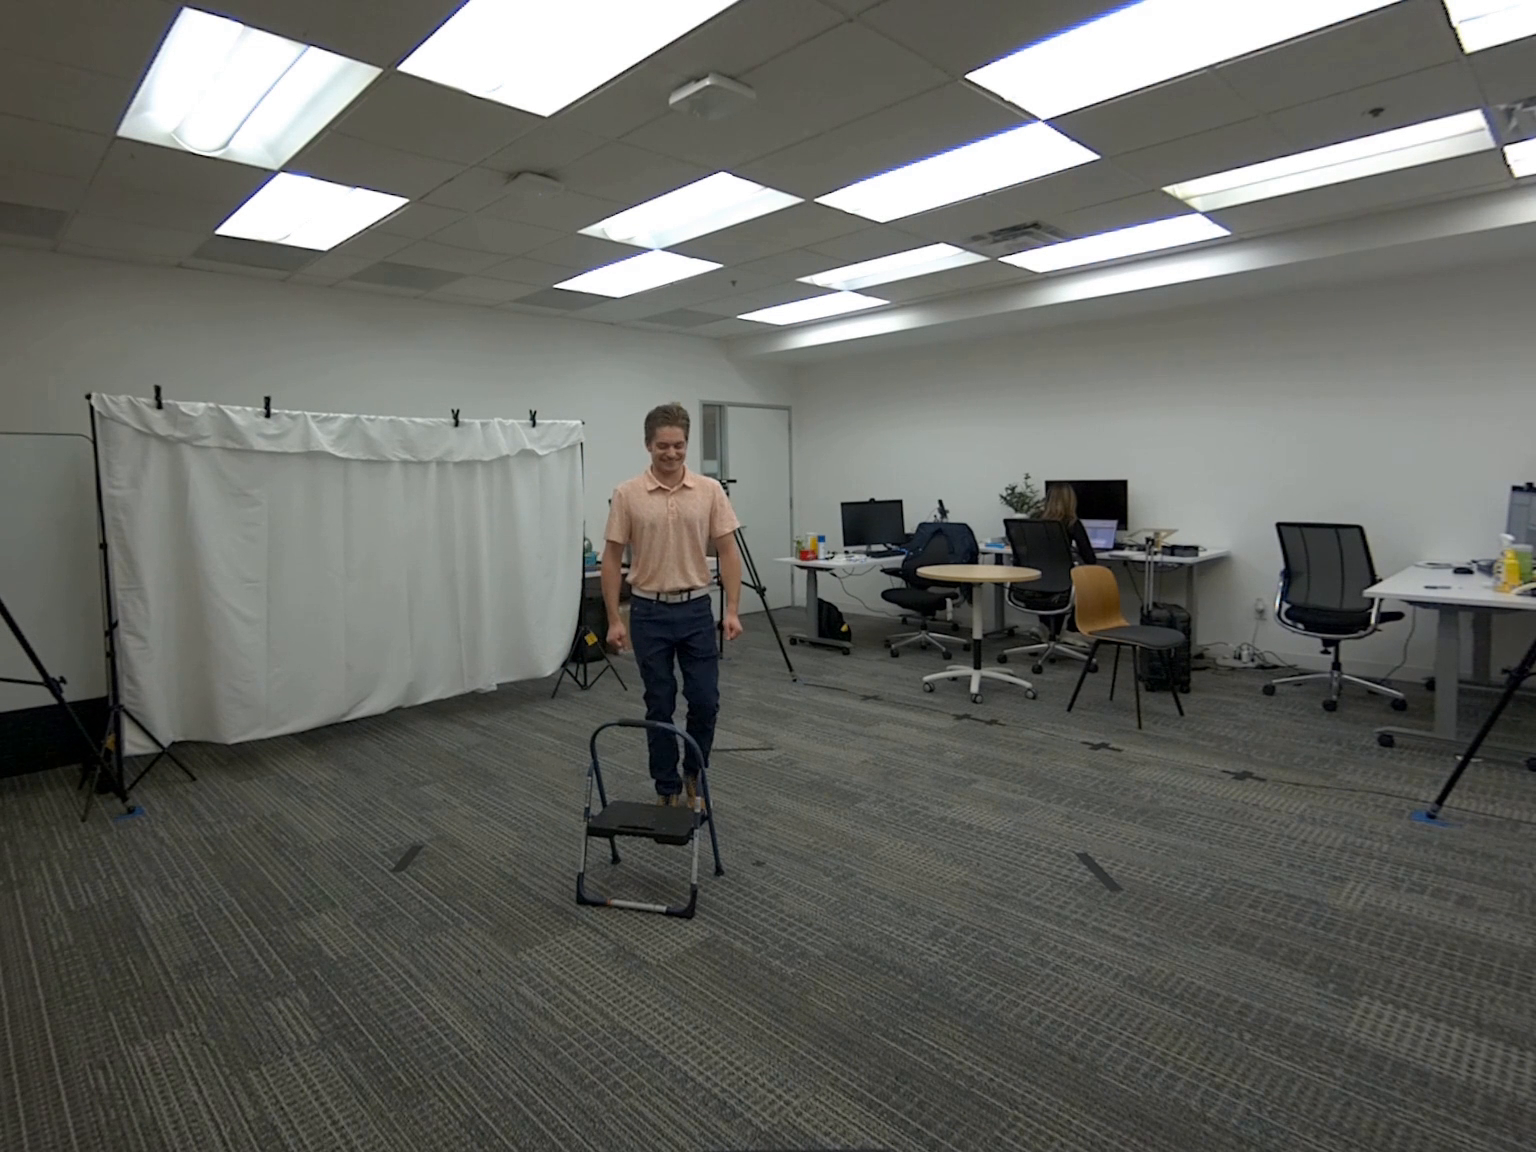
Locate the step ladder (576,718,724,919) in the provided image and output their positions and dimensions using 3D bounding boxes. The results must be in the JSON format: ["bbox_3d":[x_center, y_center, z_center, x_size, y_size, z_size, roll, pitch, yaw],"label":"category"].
[{"bbox_3d":[-0.409,0.775,2.921,0.437,0.604,0.345,0,5,15],"label":"step ladder"}]
